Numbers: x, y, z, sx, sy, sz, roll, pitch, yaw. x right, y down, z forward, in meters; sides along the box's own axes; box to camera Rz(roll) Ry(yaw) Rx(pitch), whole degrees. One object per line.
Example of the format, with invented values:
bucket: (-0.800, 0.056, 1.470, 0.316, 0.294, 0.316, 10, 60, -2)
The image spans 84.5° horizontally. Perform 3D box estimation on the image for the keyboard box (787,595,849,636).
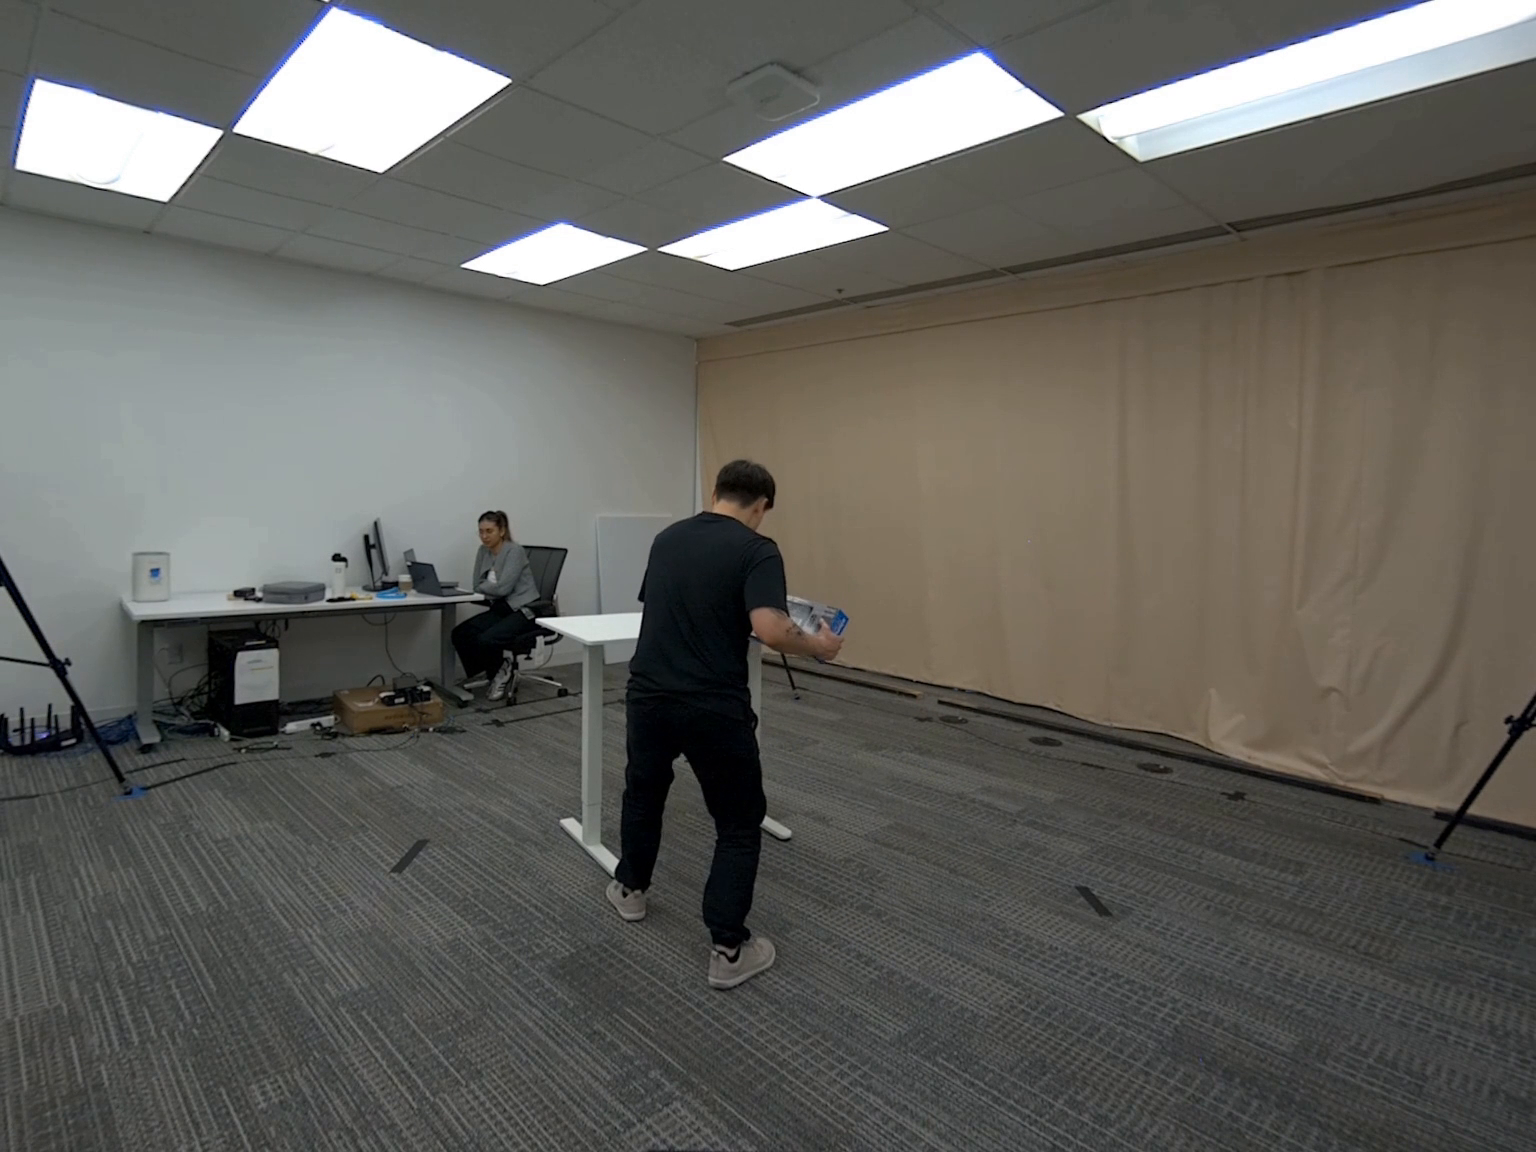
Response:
keyboard box: (0.050, 0.166, 2.742, 0.449, 0.176, 0.057, 14, -25, 49)
